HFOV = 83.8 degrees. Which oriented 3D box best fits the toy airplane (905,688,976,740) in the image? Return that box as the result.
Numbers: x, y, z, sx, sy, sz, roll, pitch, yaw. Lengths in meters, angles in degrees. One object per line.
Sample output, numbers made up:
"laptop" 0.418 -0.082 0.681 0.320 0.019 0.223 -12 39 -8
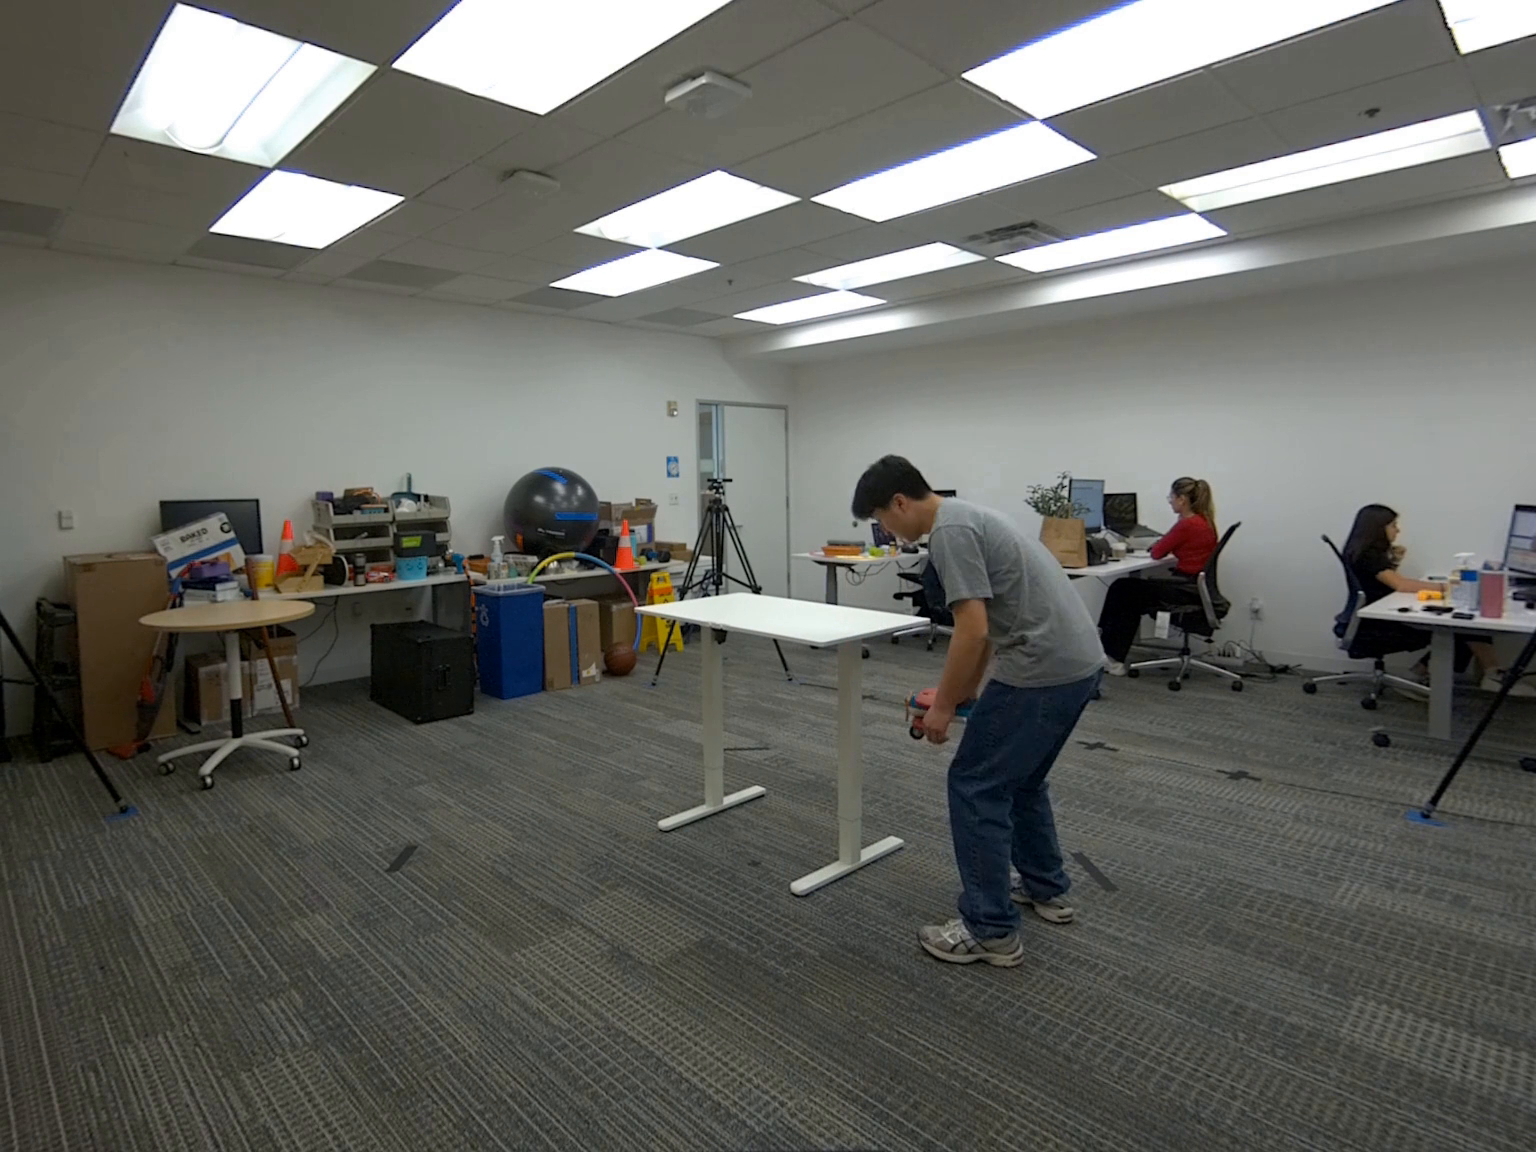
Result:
"toy airplane" 0.620 0.482 3.027 0.259 0.156 0.252 -8 2 -3
